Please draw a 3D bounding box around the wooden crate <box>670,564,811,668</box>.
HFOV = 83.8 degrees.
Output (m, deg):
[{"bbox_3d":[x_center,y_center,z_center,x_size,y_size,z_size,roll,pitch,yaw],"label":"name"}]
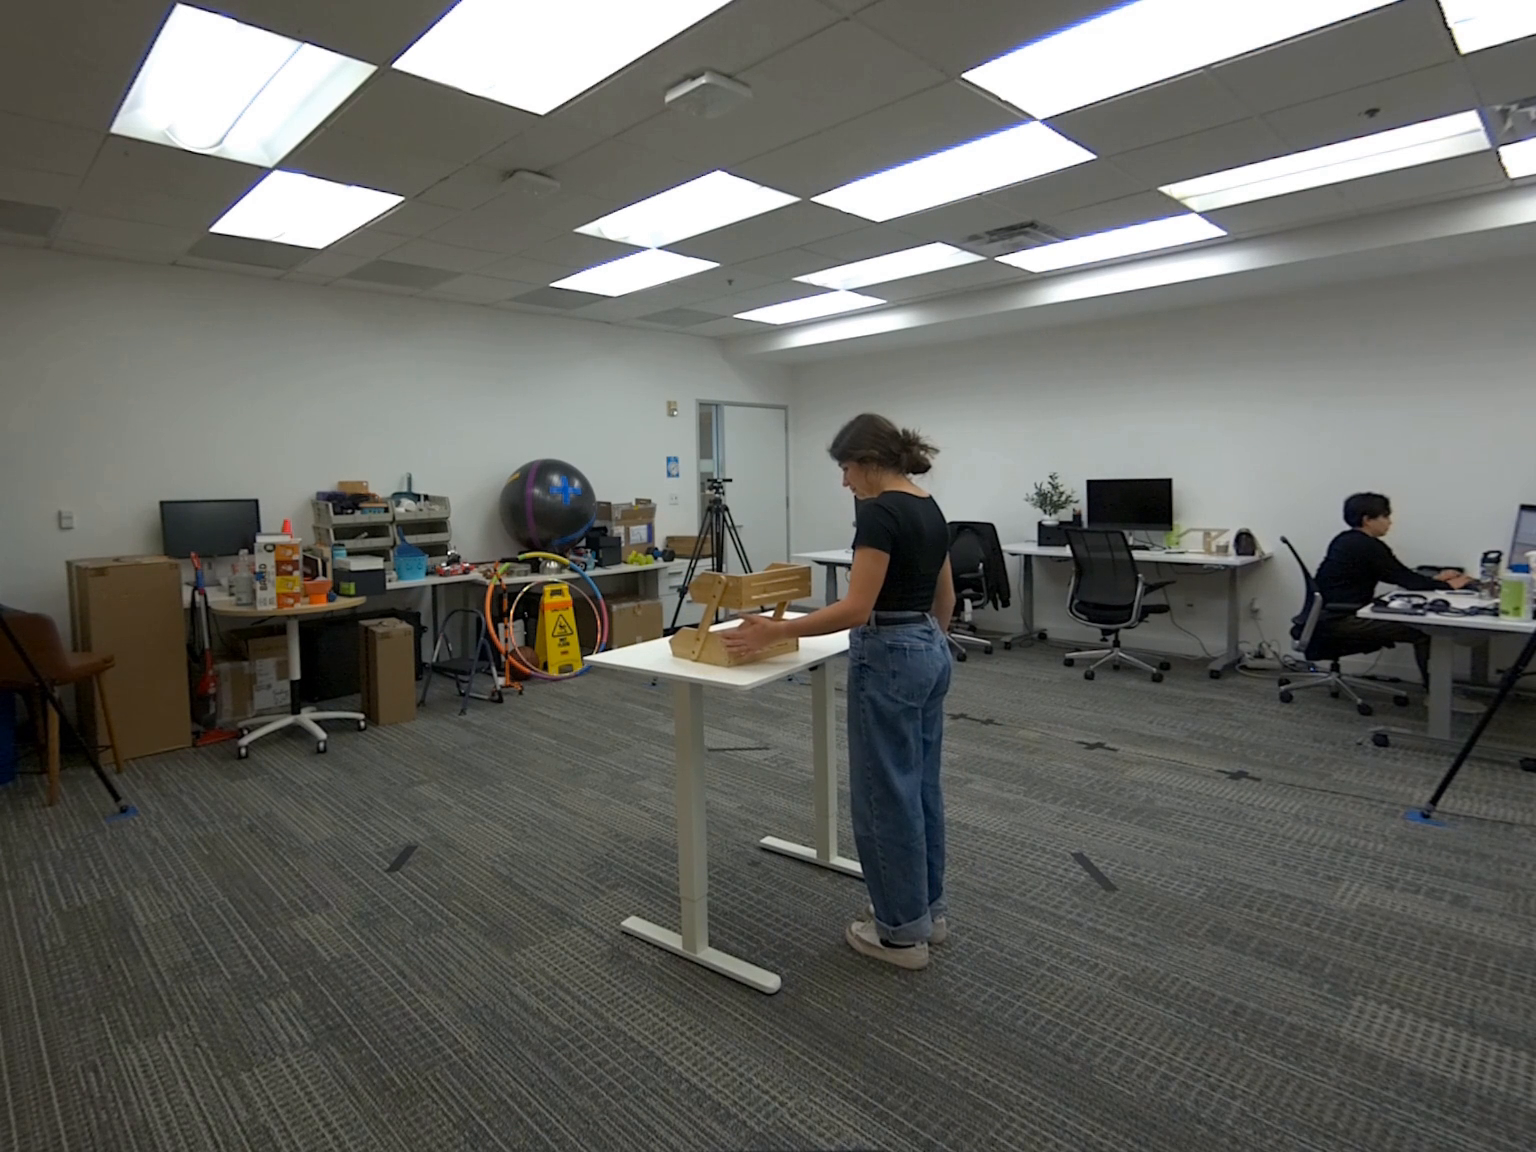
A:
[{"bbox_3d":[-0.075,0.100,2.510,0.311,0.272,0.316,5,9,43],"label":"wooden crate"}]
